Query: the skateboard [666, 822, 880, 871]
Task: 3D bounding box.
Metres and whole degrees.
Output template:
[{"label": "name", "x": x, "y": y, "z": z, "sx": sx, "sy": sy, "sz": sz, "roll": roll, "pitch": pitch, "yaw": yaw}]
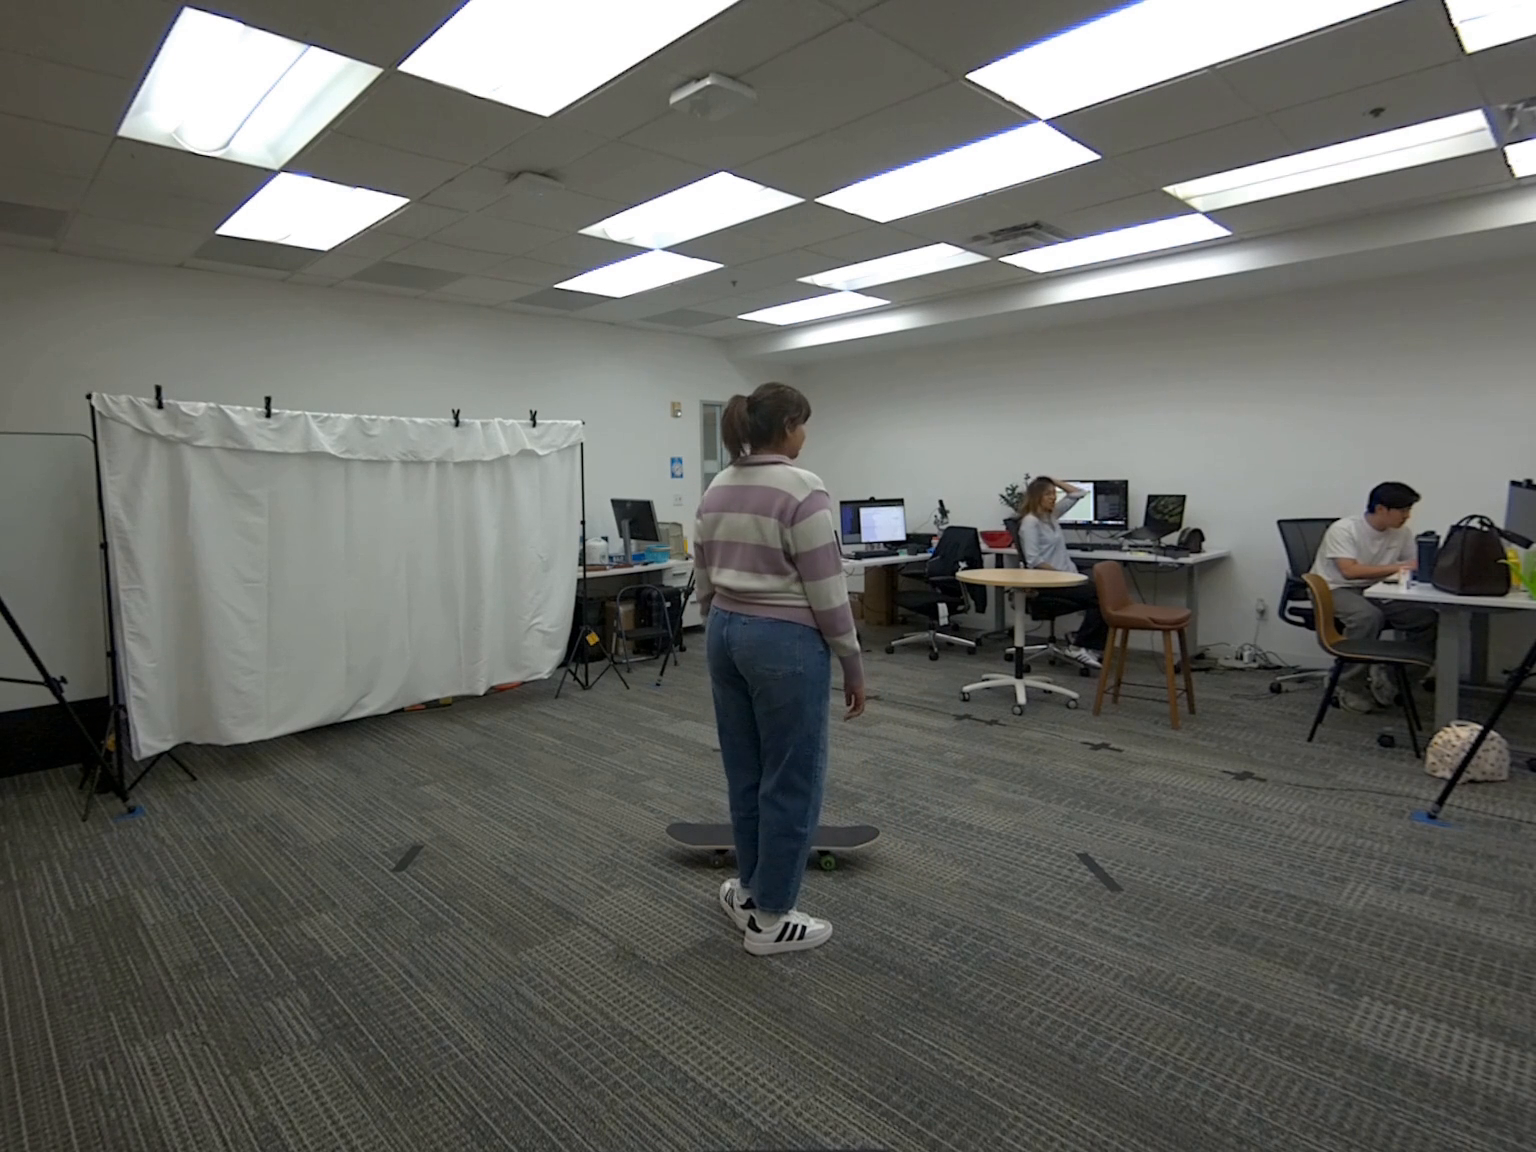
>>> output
[{"label": "skateboard", "x": 0.018, "y": 0.981, "z": 3.138, "sx": 0.789, "sy": 0.110, "sz": 0.193, "roll": 0, "pitch": 6, "yaw": 4}]
